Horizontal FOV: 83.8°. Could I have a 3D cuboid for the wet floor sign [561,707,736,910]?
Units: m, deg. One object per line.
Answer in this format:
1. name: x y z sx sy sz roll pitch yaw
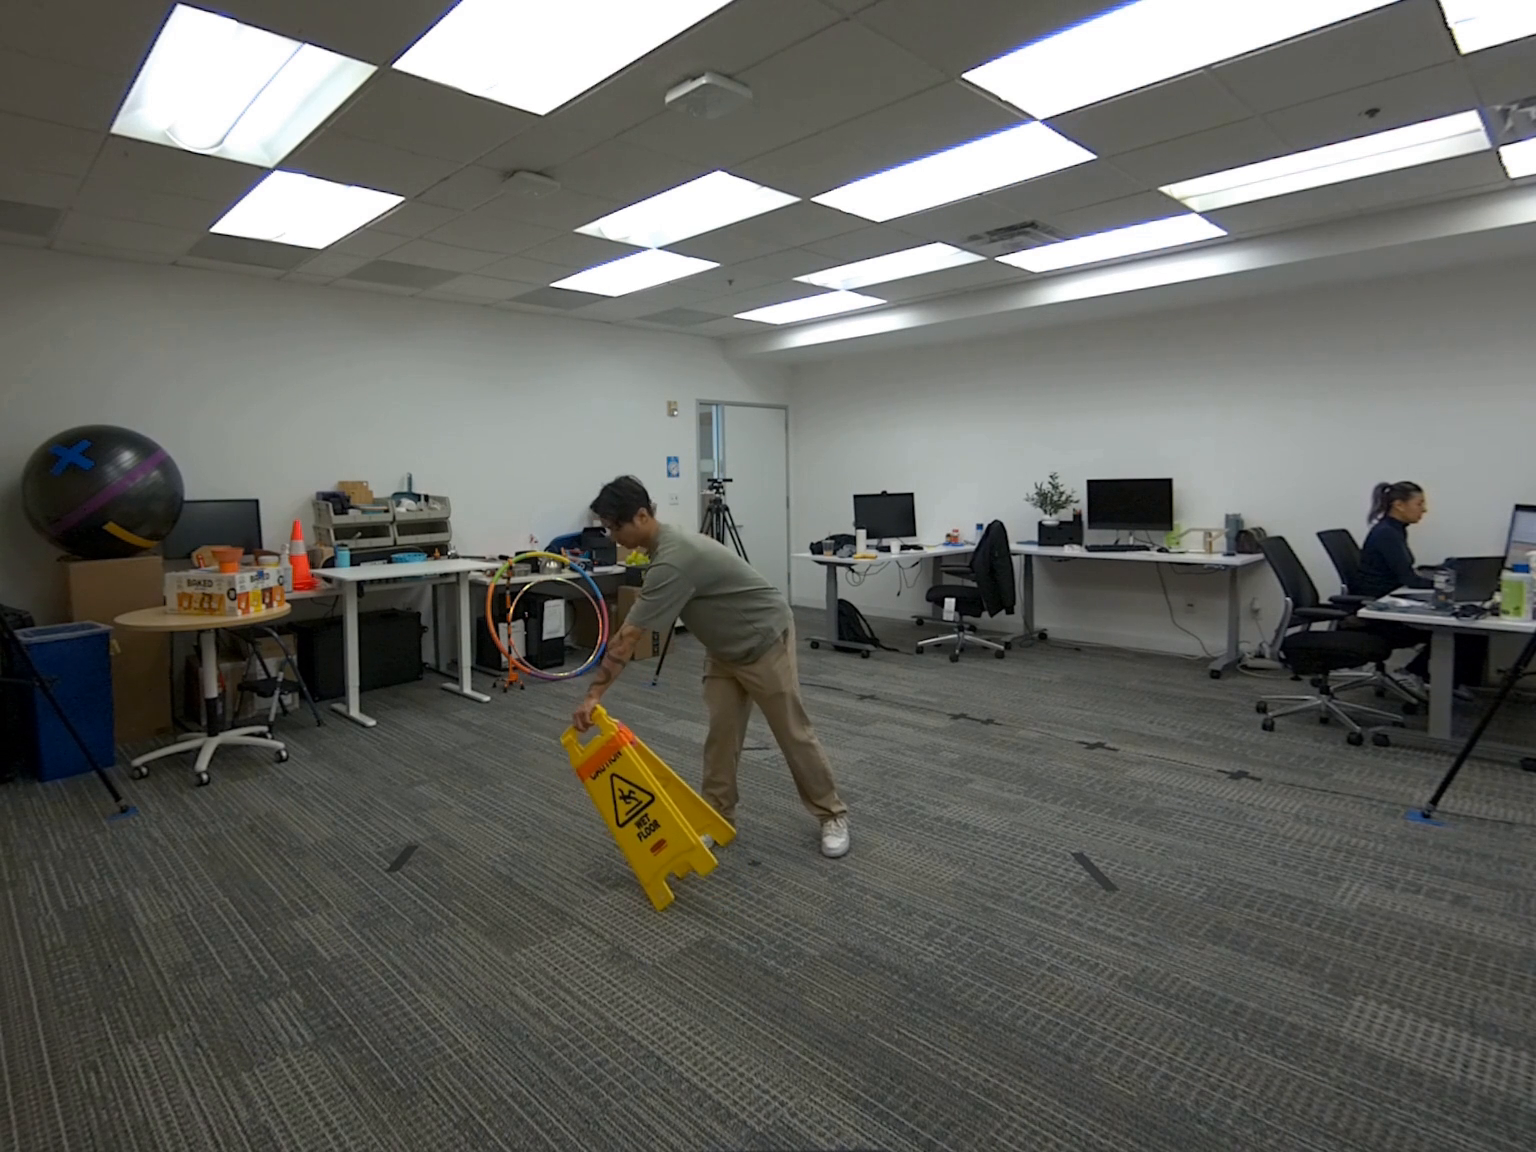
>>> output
1. wet floor sign: -0.439 0.745 2.894 0.283 0.652 0.286 -42 -7 14
